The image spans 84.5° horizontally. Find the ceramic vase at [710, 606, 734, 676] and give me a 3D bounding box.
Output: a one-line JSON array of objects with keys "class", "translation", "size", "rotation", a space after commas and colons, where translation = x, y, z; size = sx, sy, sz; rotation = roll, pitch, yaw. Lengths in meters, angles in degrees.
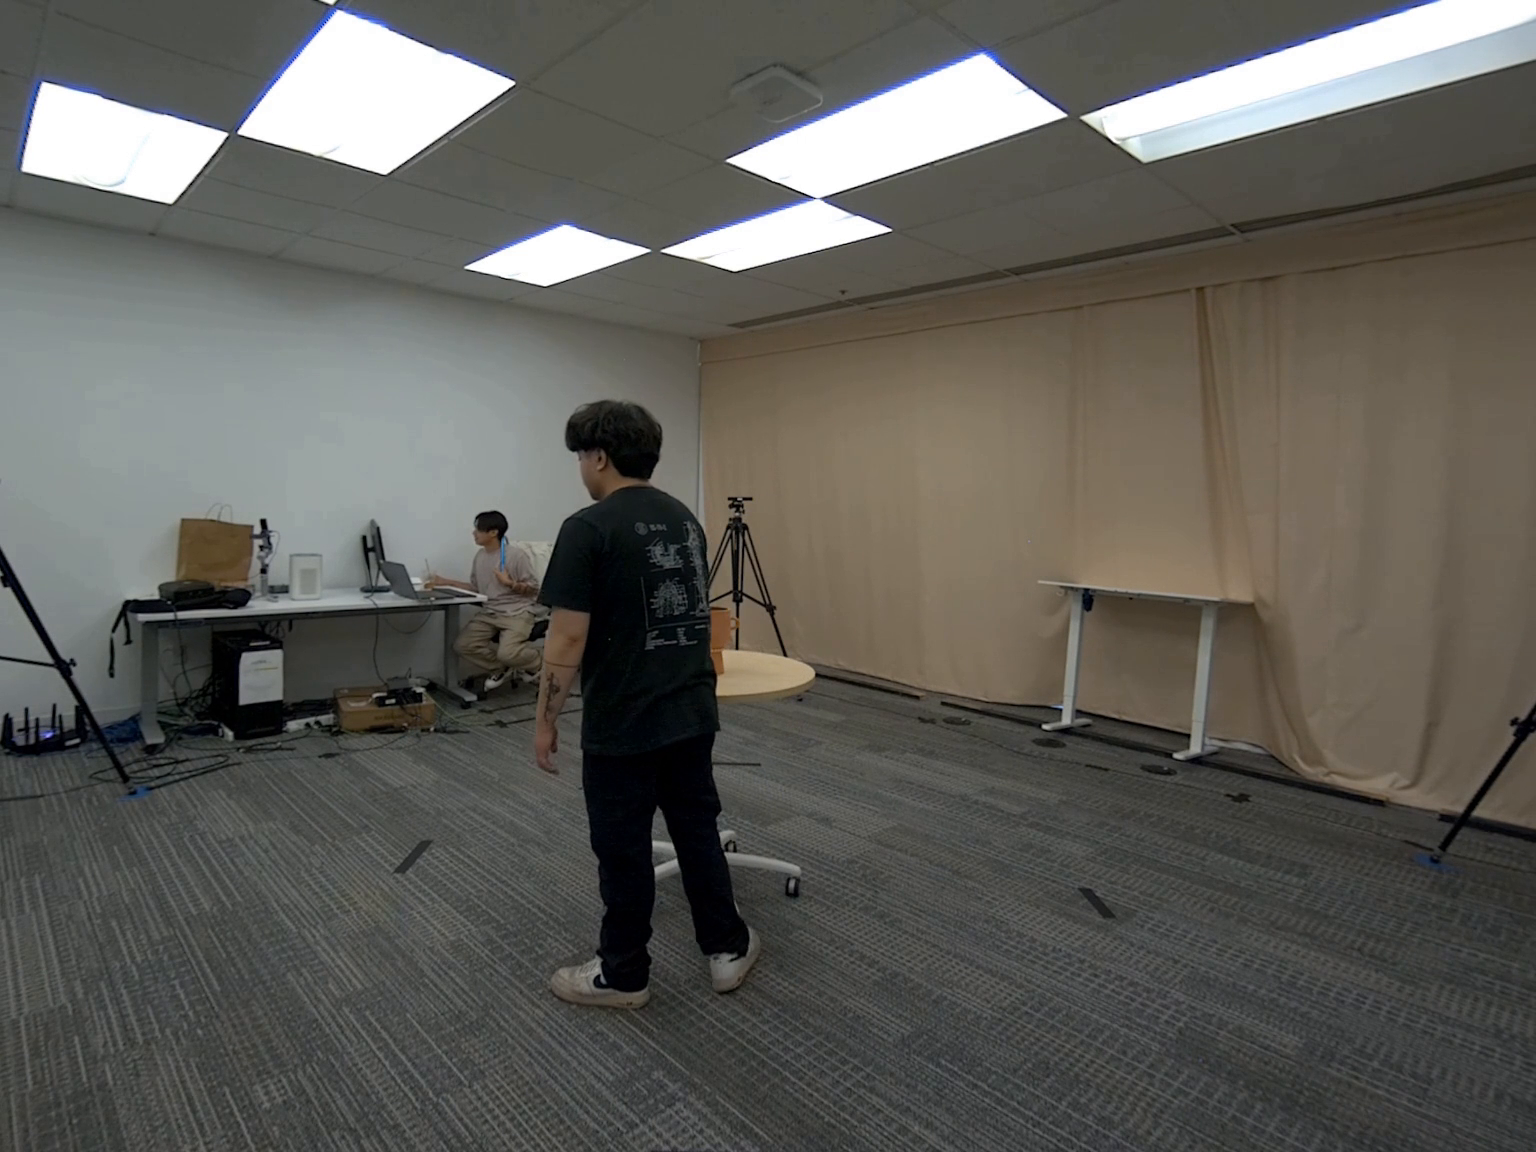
[{"class": "ceramic vase", "translation": [-0.203, 0.225, 2.884], "size": [0.163, 0.219, 0.131], "rotation": [4, 5, 42]}]
